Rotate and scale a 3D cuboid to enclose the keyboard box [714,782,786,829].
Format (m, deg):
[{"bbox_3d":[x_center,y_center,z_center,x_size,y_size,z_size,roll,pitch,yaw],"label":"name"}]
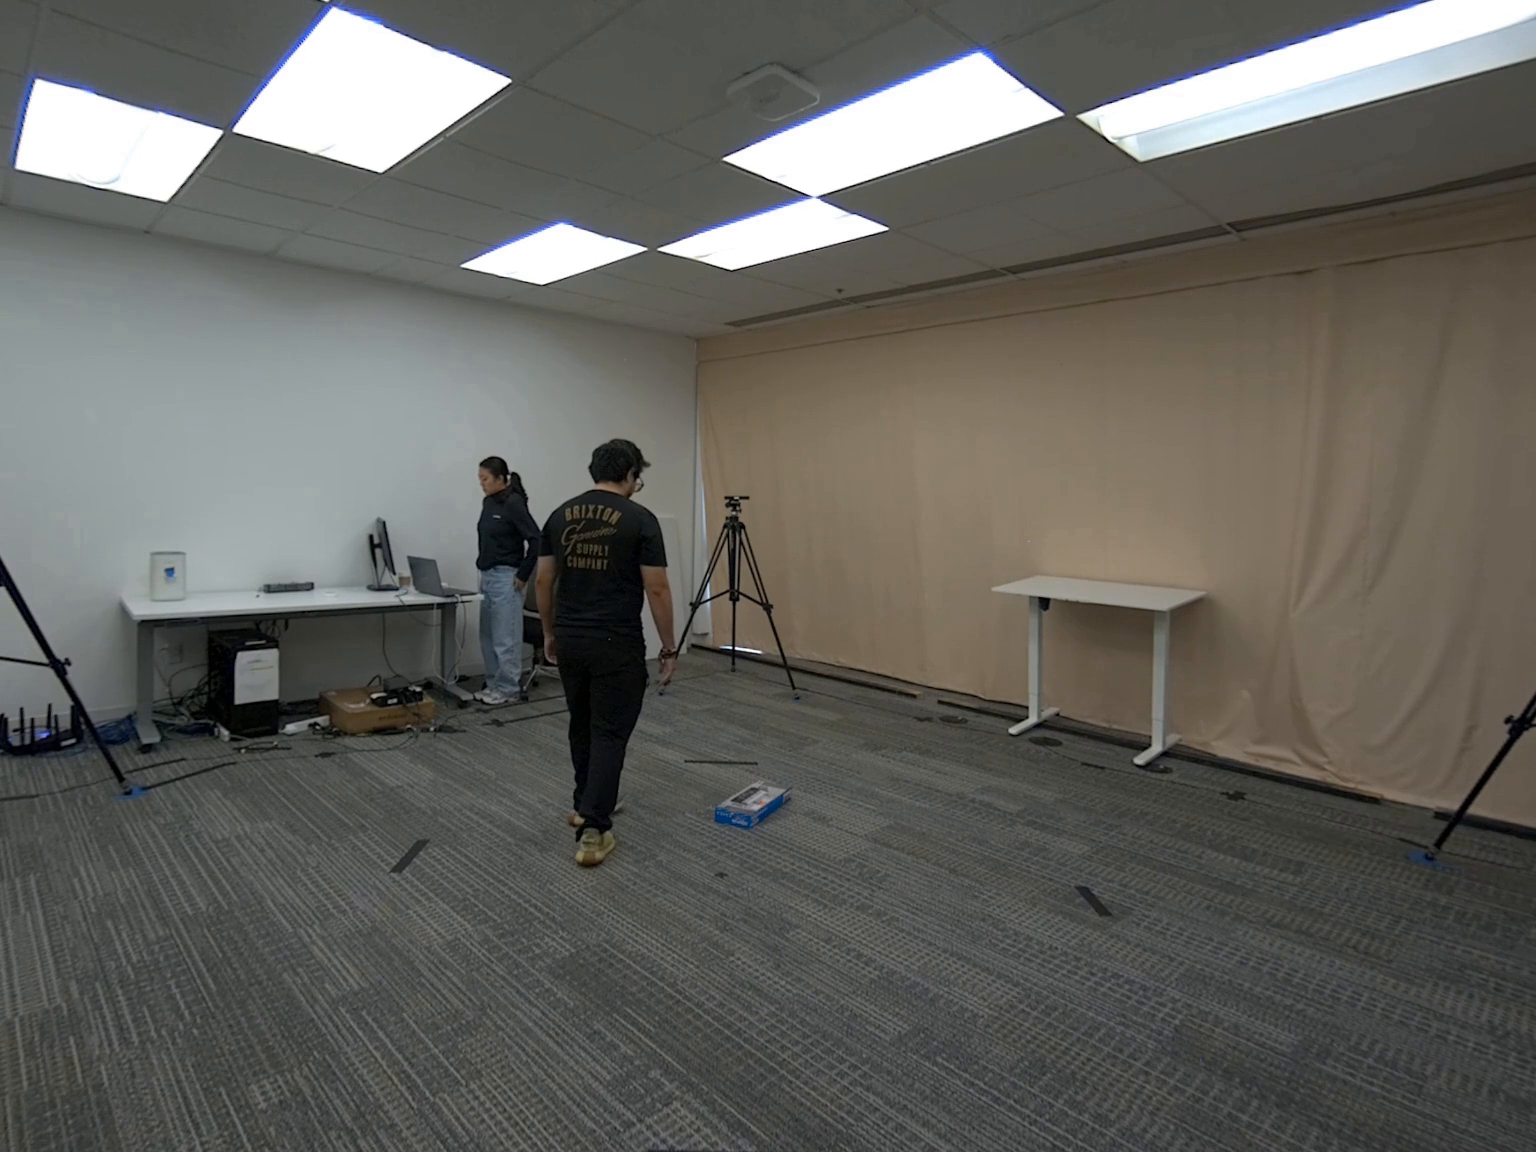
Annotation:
[{"bbox_3d":[-0.068,1.017,3.776,0.179,0.059,0.429,4,6,26],"label":"keyboard box"}]
